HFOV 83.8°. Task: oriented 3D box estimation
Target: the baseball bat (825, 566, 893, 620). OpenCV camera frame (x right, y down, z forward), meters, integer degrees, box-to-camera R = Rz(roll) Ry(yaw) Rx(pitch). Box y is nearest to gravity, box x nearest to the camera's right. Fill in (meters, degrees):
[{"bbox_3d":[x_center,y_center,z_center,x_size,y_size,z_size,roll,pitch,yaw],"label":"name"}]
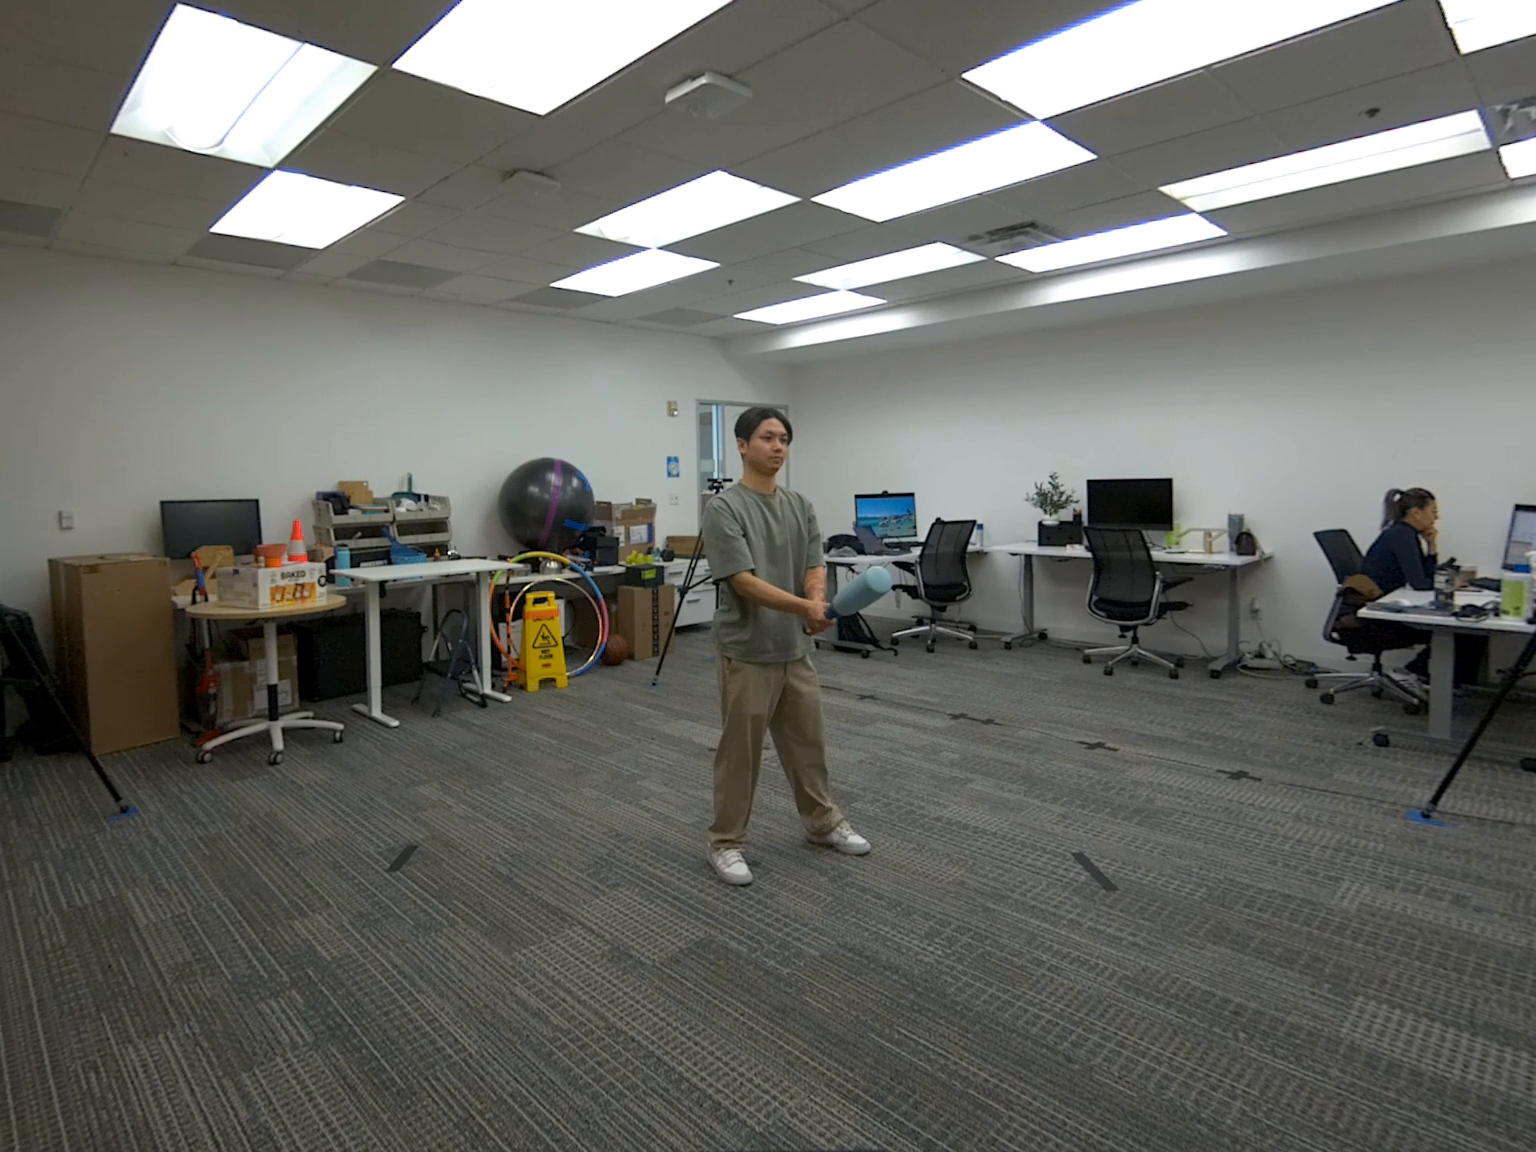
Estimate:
[{"bbox_3d":[0.221,0.110,2.613,0.087,0.091,0.541,-2,-19,-19],"label":"baseball bat"}]
